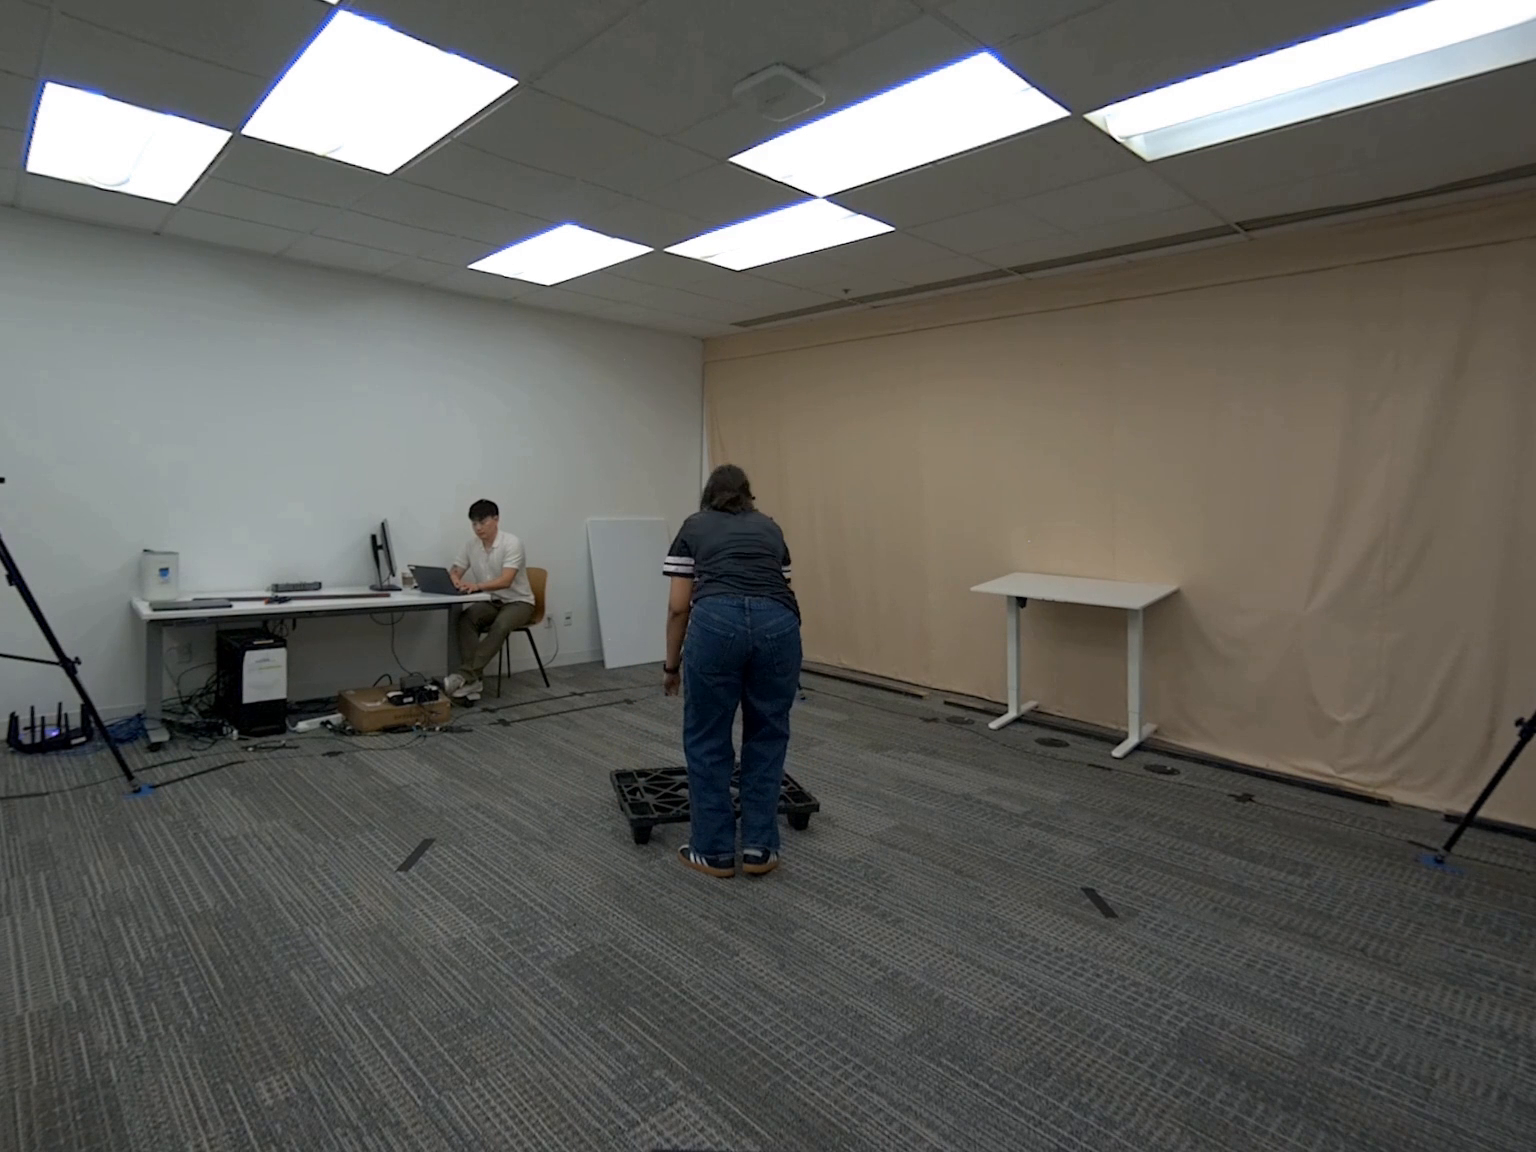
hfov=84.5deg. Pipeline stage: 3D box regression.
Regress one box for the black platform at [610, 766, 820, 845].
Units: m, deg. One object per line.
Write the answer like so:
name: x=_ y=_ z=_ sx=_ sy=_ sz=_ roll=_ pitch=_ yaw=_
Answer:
black platform: x=-0.257 y=0.983 z=3.675 sx=0.795 sy=0.143 sz=0.615 roll=0 pitch=6 yaw=-17
